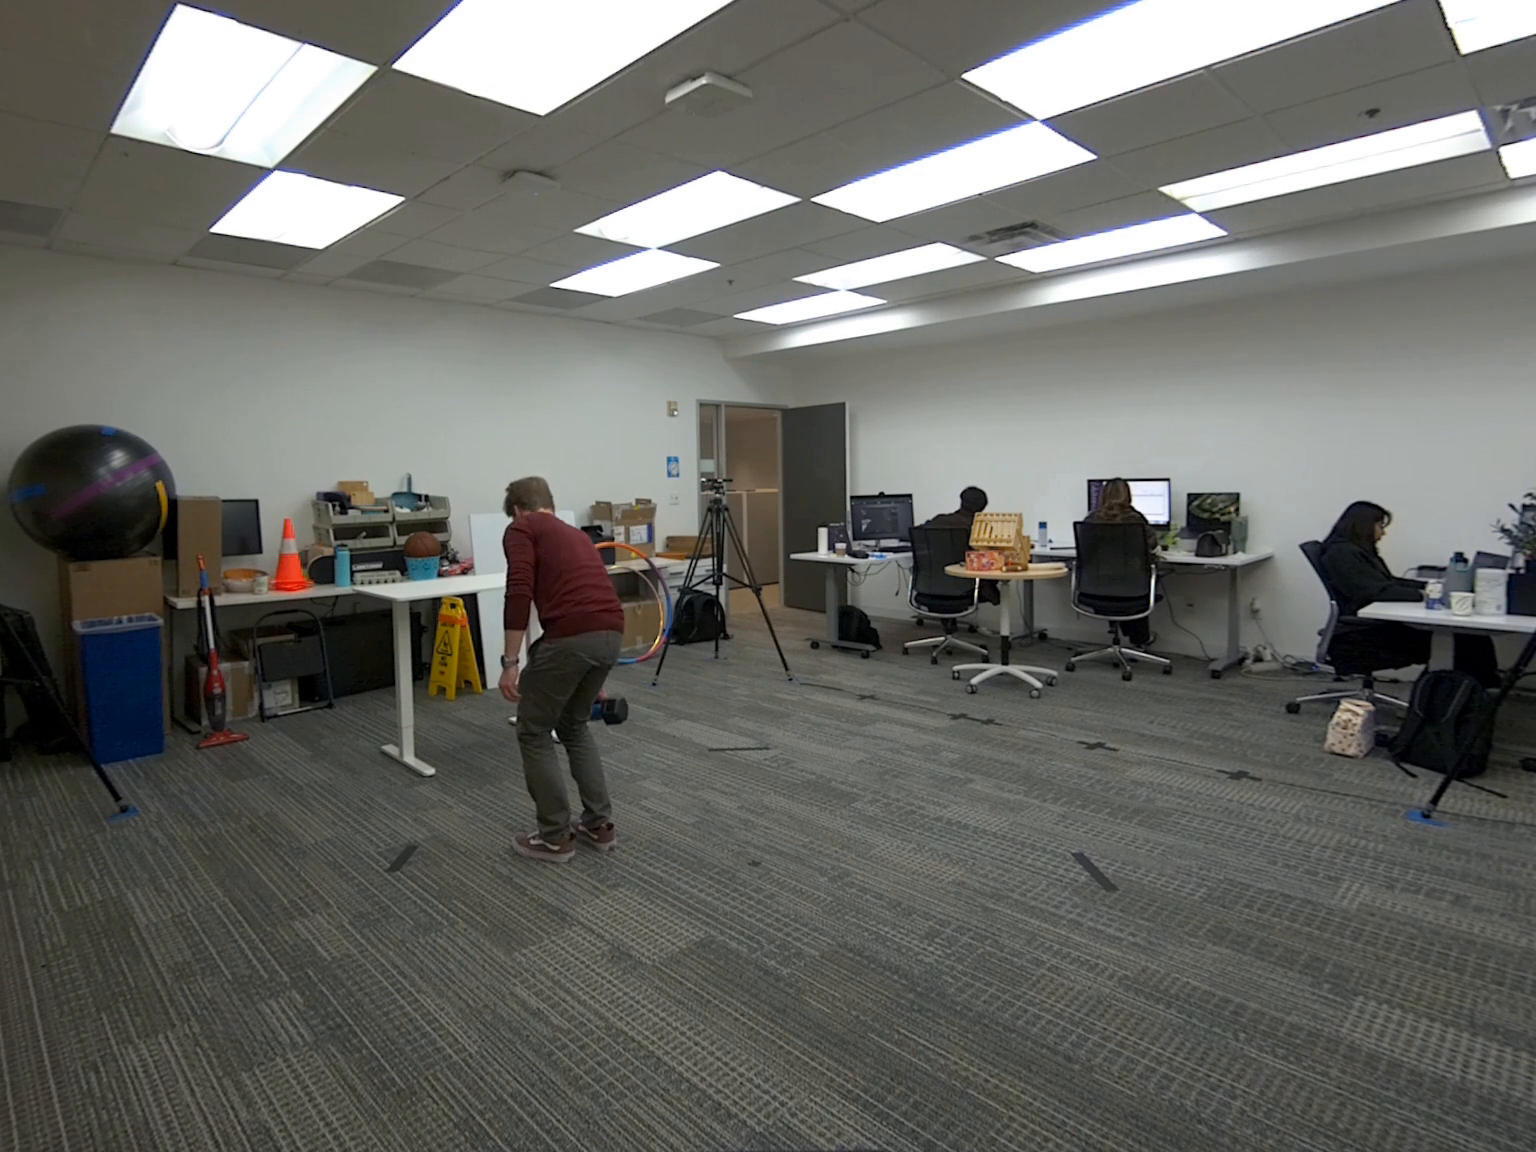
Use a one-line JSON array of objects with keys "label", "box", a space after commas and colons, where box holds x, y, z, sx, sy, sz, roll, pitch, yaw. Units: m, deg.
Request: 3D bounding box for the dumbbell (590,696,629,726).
[{"label": "dumbbell", "box": [-0.732, 0.562, 3.520, 0.297, 0.126, 0.105, -6, -30, 15]}]
